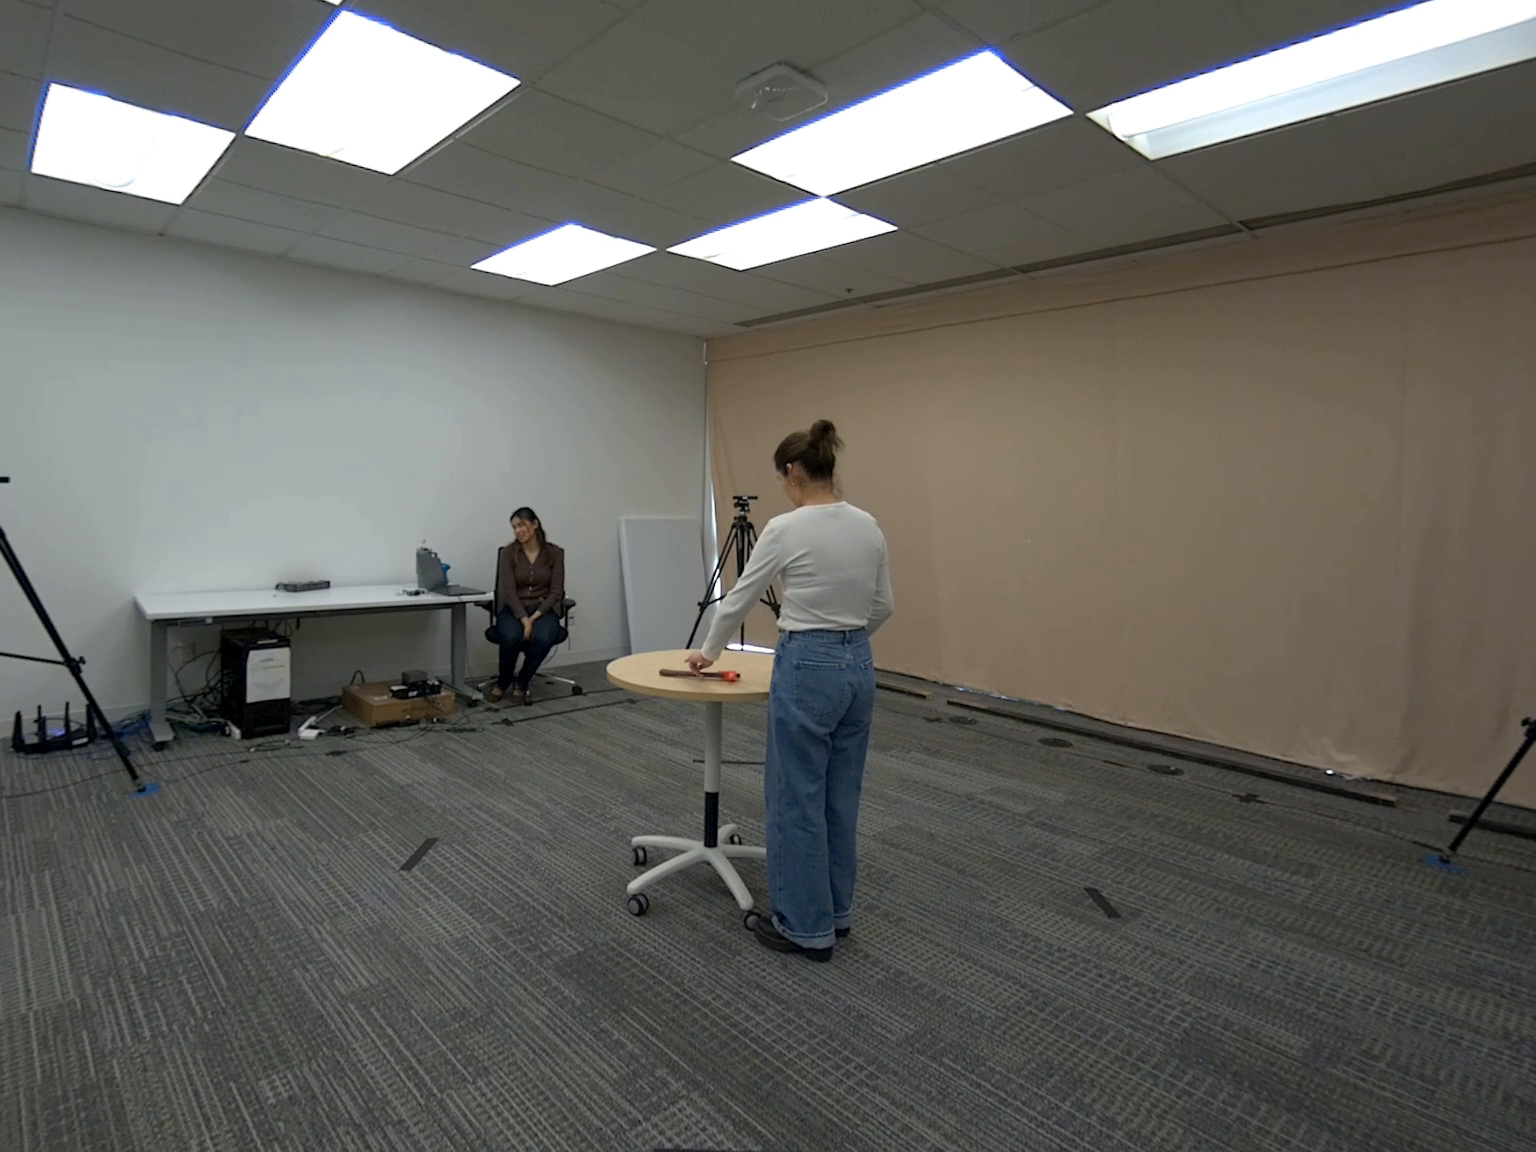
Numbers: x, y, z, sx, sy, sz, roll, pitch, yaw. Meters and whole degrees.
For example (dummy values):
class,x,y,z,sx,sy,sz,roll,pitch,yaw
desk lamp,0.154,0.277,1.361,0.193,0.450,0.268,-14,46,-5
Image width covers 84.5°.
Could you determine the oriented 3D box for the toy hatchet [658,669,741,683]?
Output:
class,x,y,z,sx,sy,sz,roll,pitch,yaw
toy hatchet,-0.231,0.332,2.848,0.276,0.029,0.128,2,2,29
